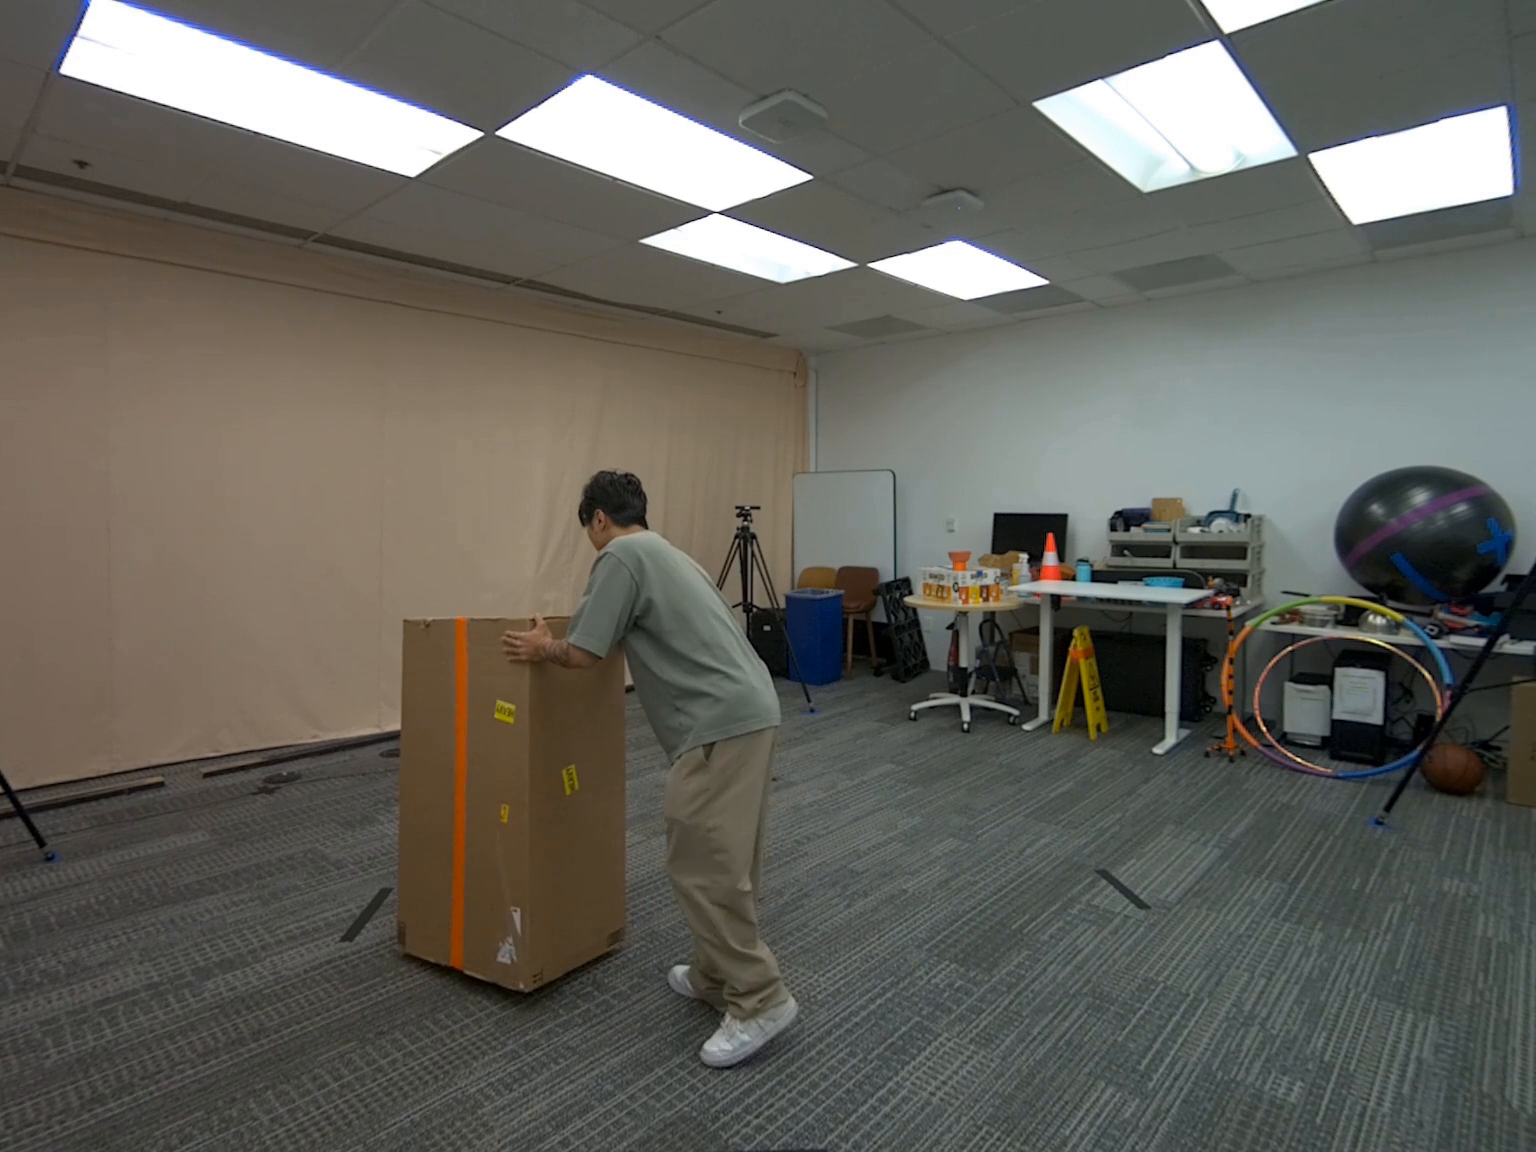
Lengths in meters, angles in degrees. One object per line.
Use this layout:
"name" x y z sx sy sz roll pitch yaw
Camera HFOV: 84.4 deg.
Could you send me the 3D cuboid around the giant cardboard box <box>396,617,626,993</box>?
"giant cardboard box" -0.808 0.646 2.658 0.594 1.028 0.413 -3 -4 31
